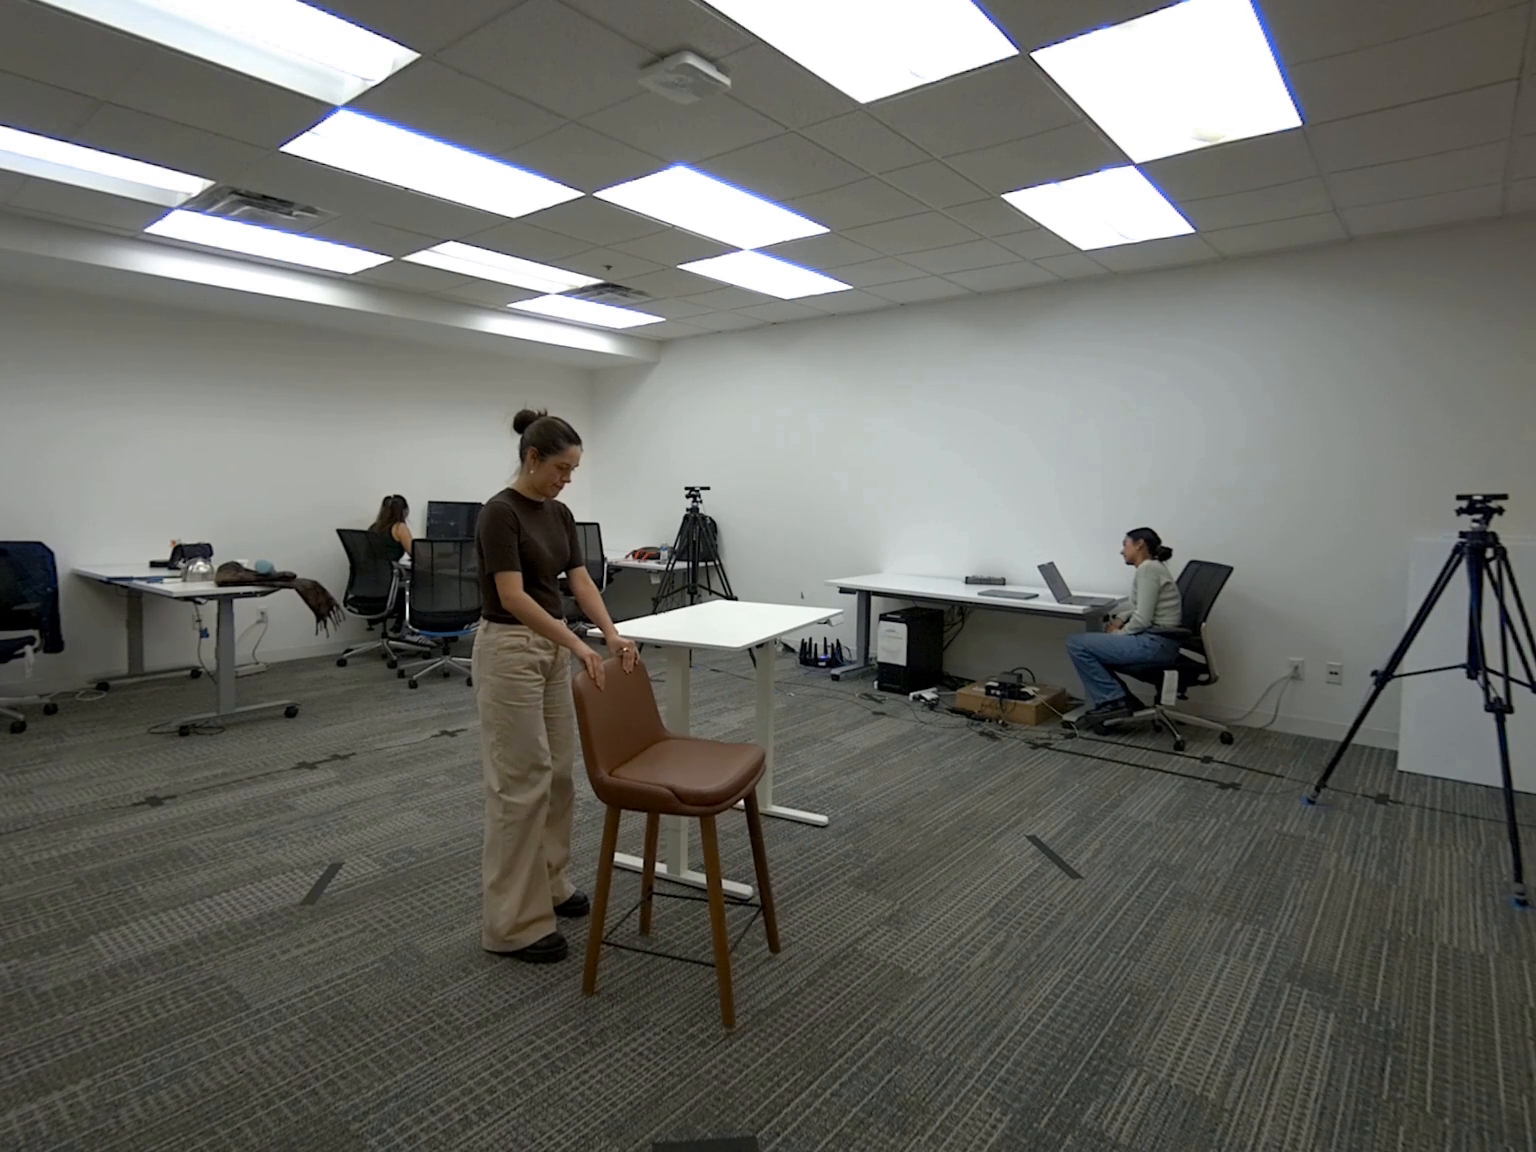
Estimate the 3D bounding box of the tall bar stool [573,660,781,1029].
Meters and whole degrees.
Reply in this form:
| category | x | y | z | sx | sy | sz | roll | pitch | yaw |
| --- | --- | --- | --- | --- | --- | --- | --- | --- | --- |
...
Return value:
| category | x | y | z | sx | sy | sz | roll | pitch | yaw |
| --- | --- | --- | --- | --- | --- | --- | --- | --- | --- |
| tall bar stool | -0.271 | 0.691 | 2.400 | 0.477 | 0.888 | 0.448 | -3 | 2 | 21 |
